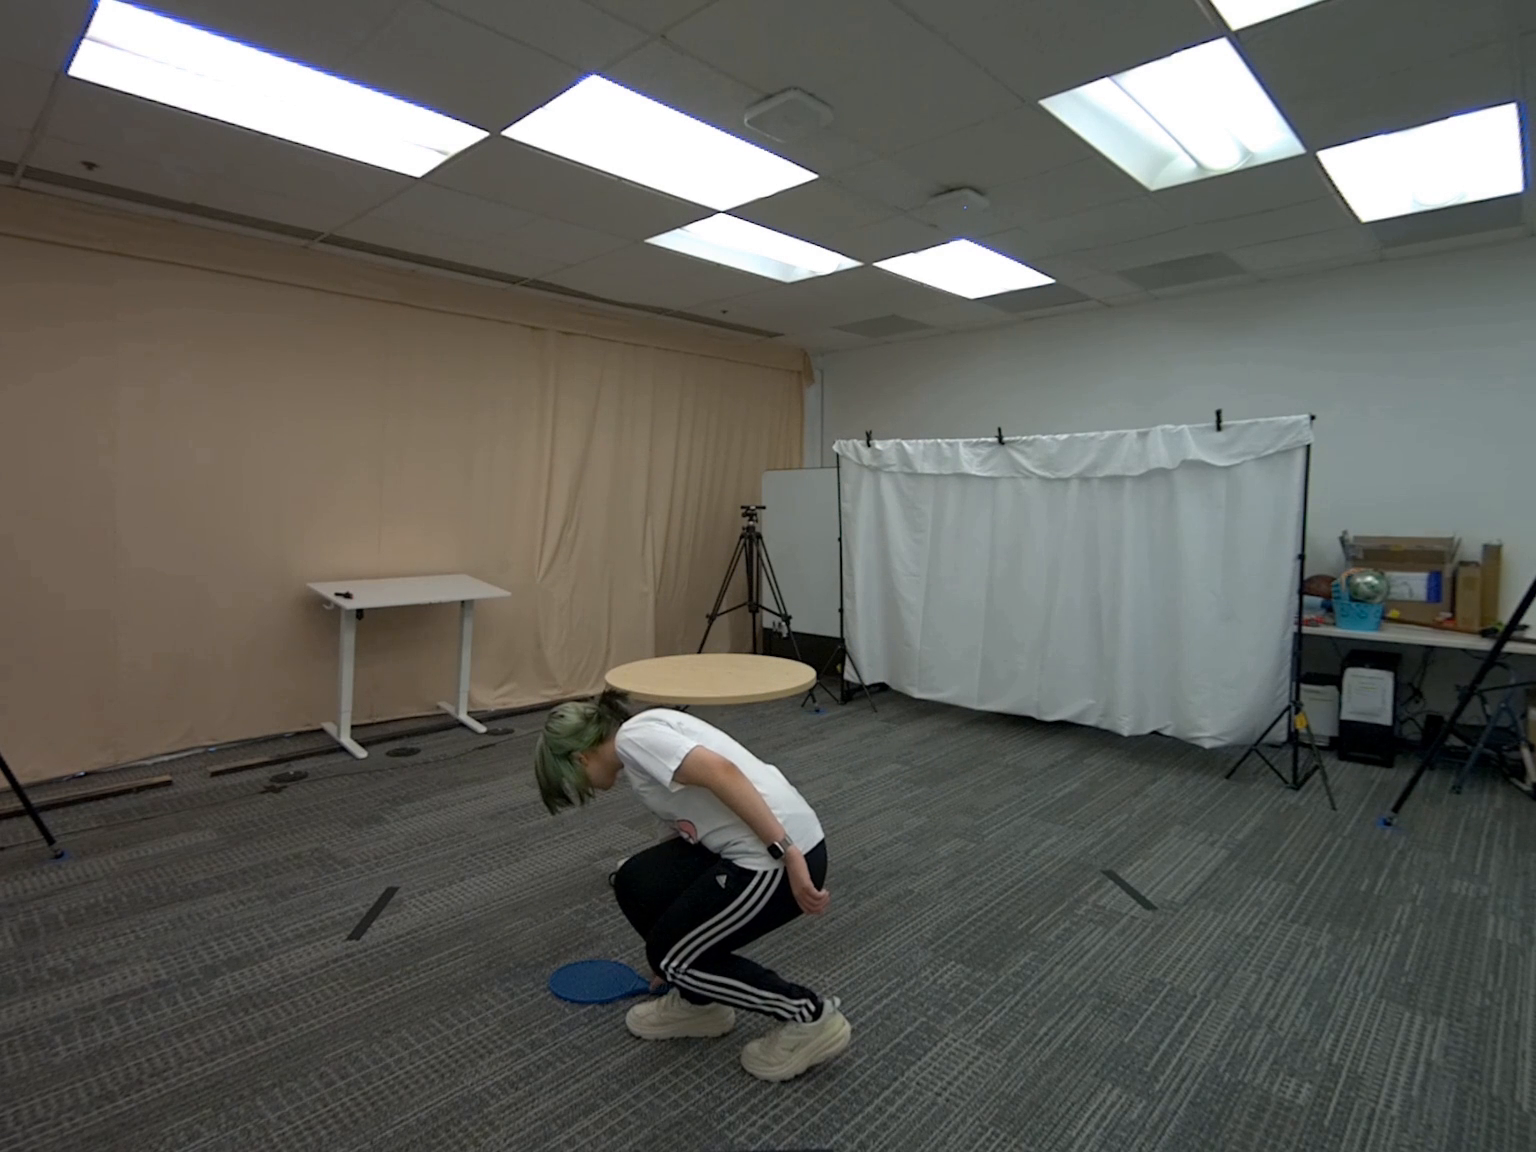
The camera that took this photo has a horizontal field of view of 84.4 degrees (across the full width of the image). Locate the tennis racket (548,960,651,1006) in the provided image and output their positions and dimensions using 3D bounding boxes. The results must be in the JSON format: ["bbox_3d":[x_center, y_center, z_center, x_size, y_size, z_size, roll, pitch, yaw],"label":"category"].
[{"bbox_3d":[-0.432,1.180,2.436,0.439,0.032,0.211,-1,4,14],"label":"tennis racket"}]
